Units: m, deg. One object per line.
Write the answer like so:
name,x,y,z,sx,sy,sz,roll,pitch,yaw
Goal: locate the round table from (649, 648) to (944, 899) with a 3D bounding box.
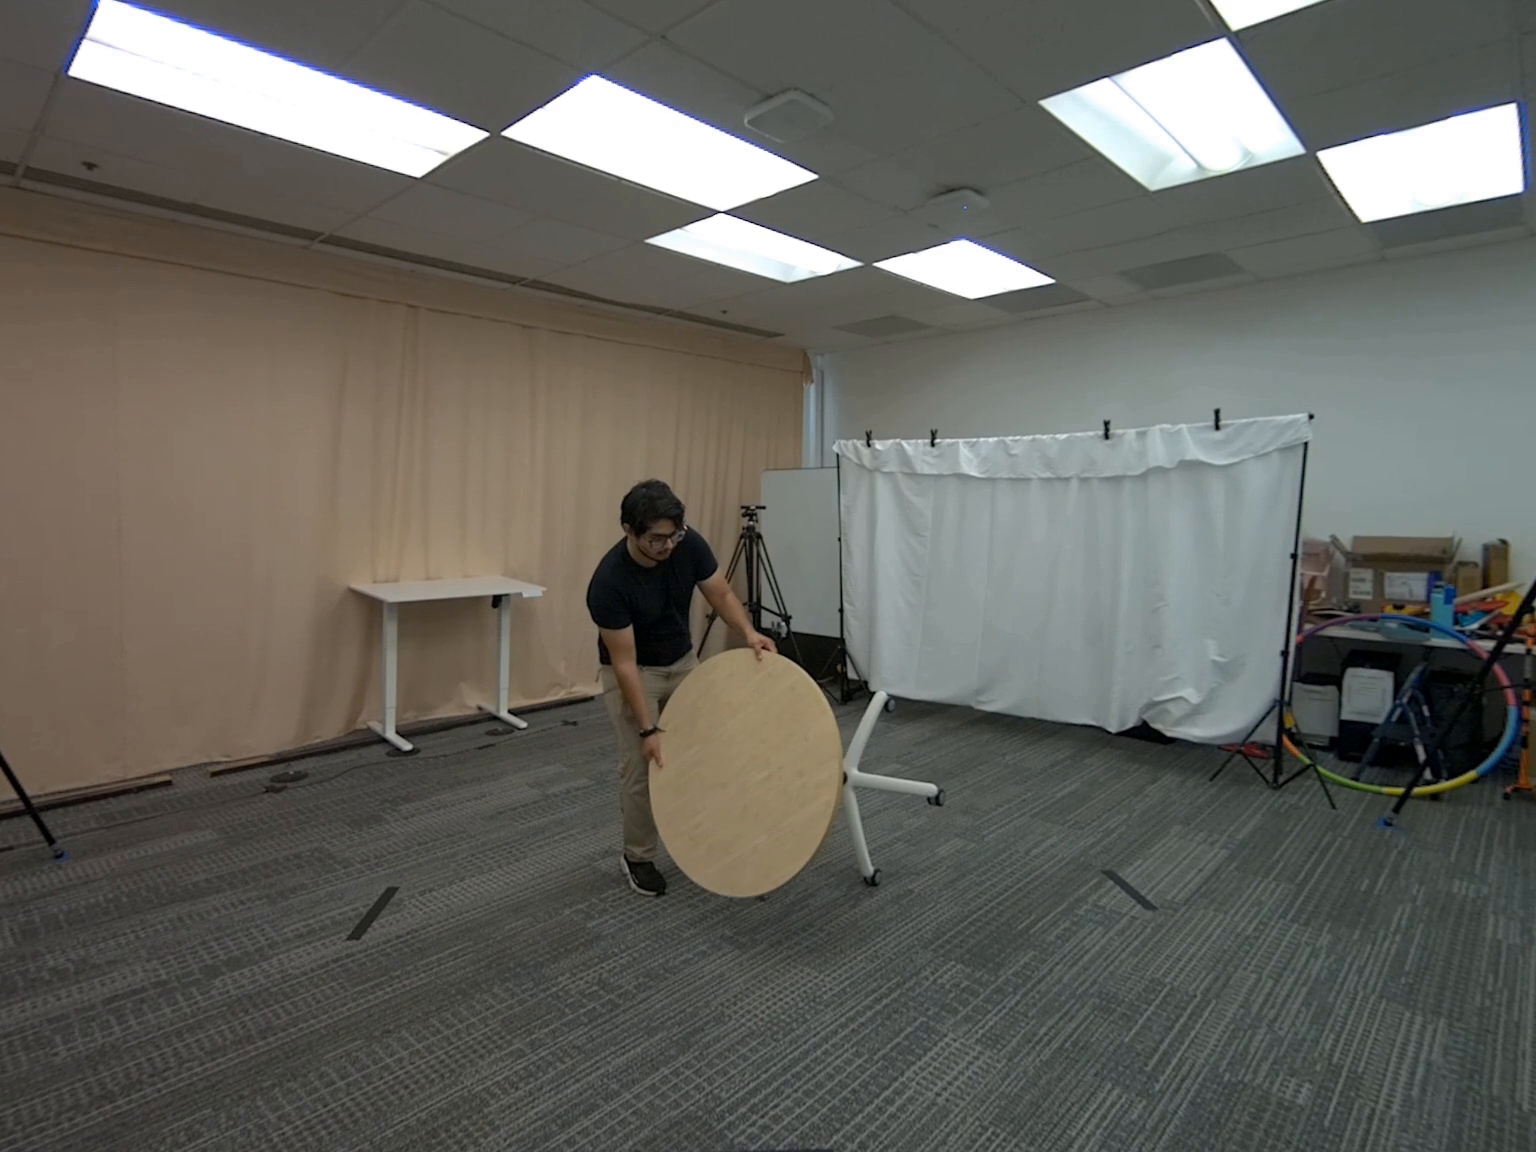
round table,0.138,0.695,2.963,0.811,0.788,0.758,3,-11,40
